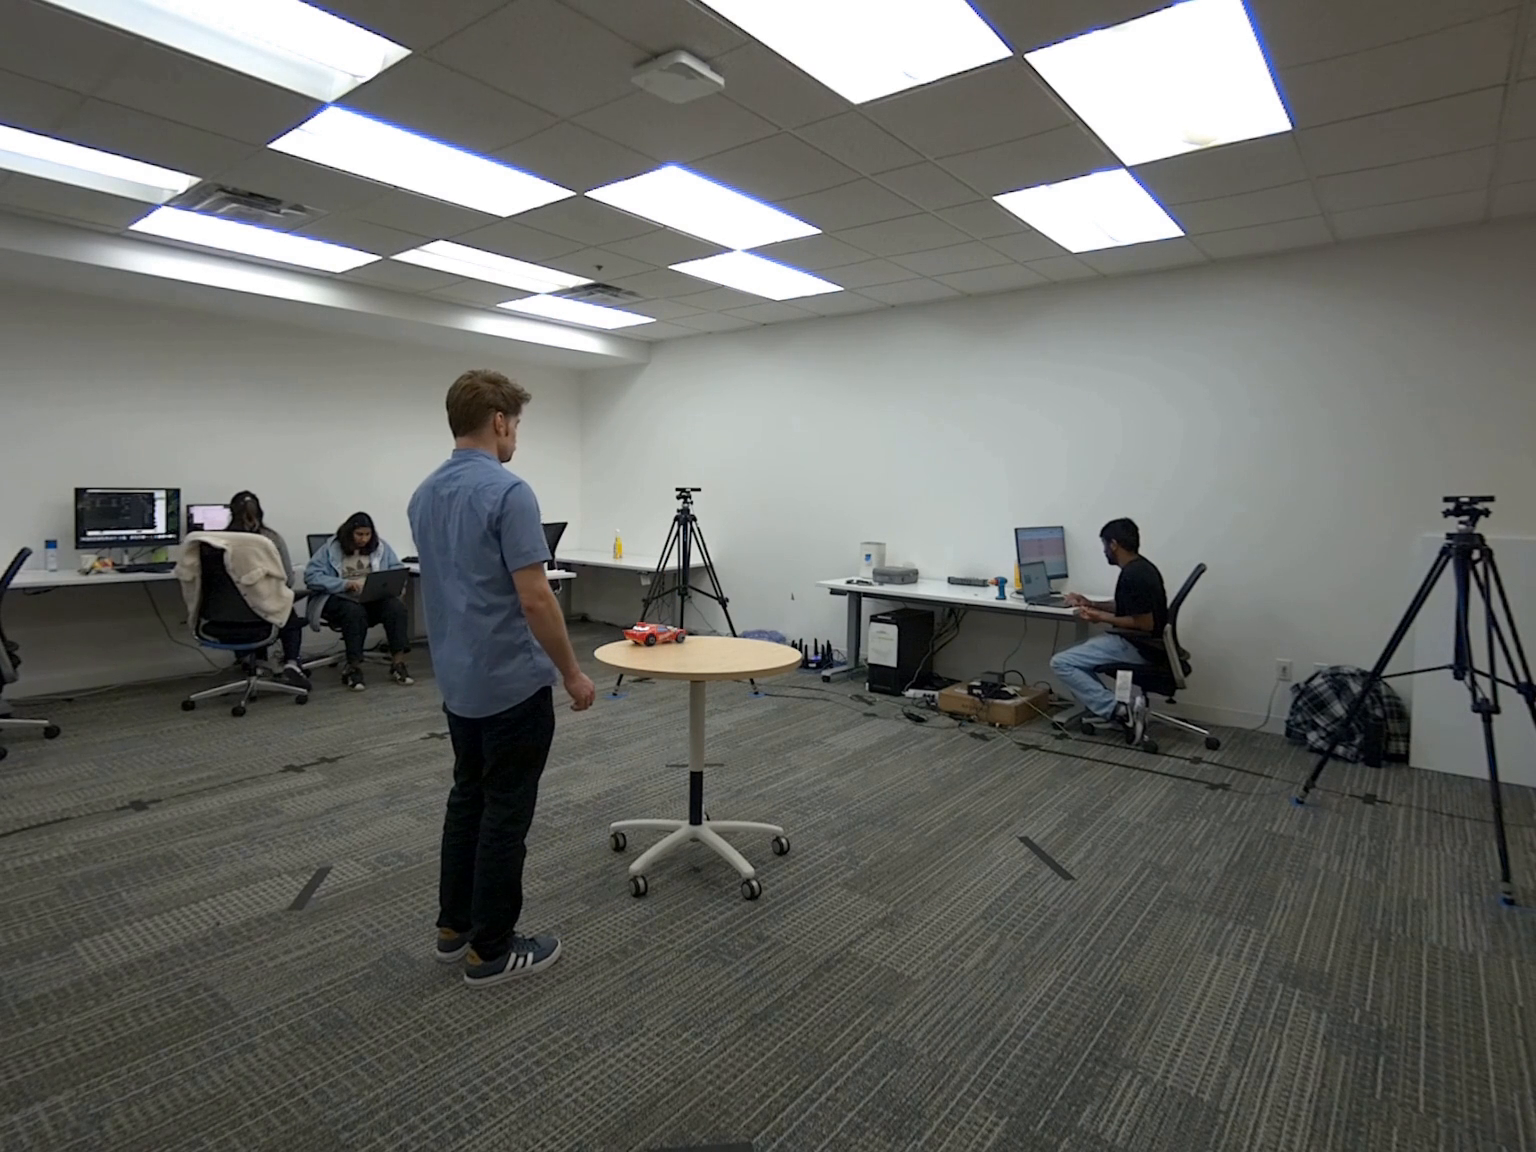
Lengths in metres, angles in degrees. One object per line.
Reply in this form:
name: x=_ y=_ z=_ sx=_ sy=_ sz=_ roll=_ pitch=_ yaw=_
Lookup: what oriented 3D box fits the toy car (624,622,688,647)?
toy car: x=-0.462 y=0.229 z=3.340 sx=0.245 sy=0.083 sz=0.135 roll=12 pitch=-4 yaw=-40
